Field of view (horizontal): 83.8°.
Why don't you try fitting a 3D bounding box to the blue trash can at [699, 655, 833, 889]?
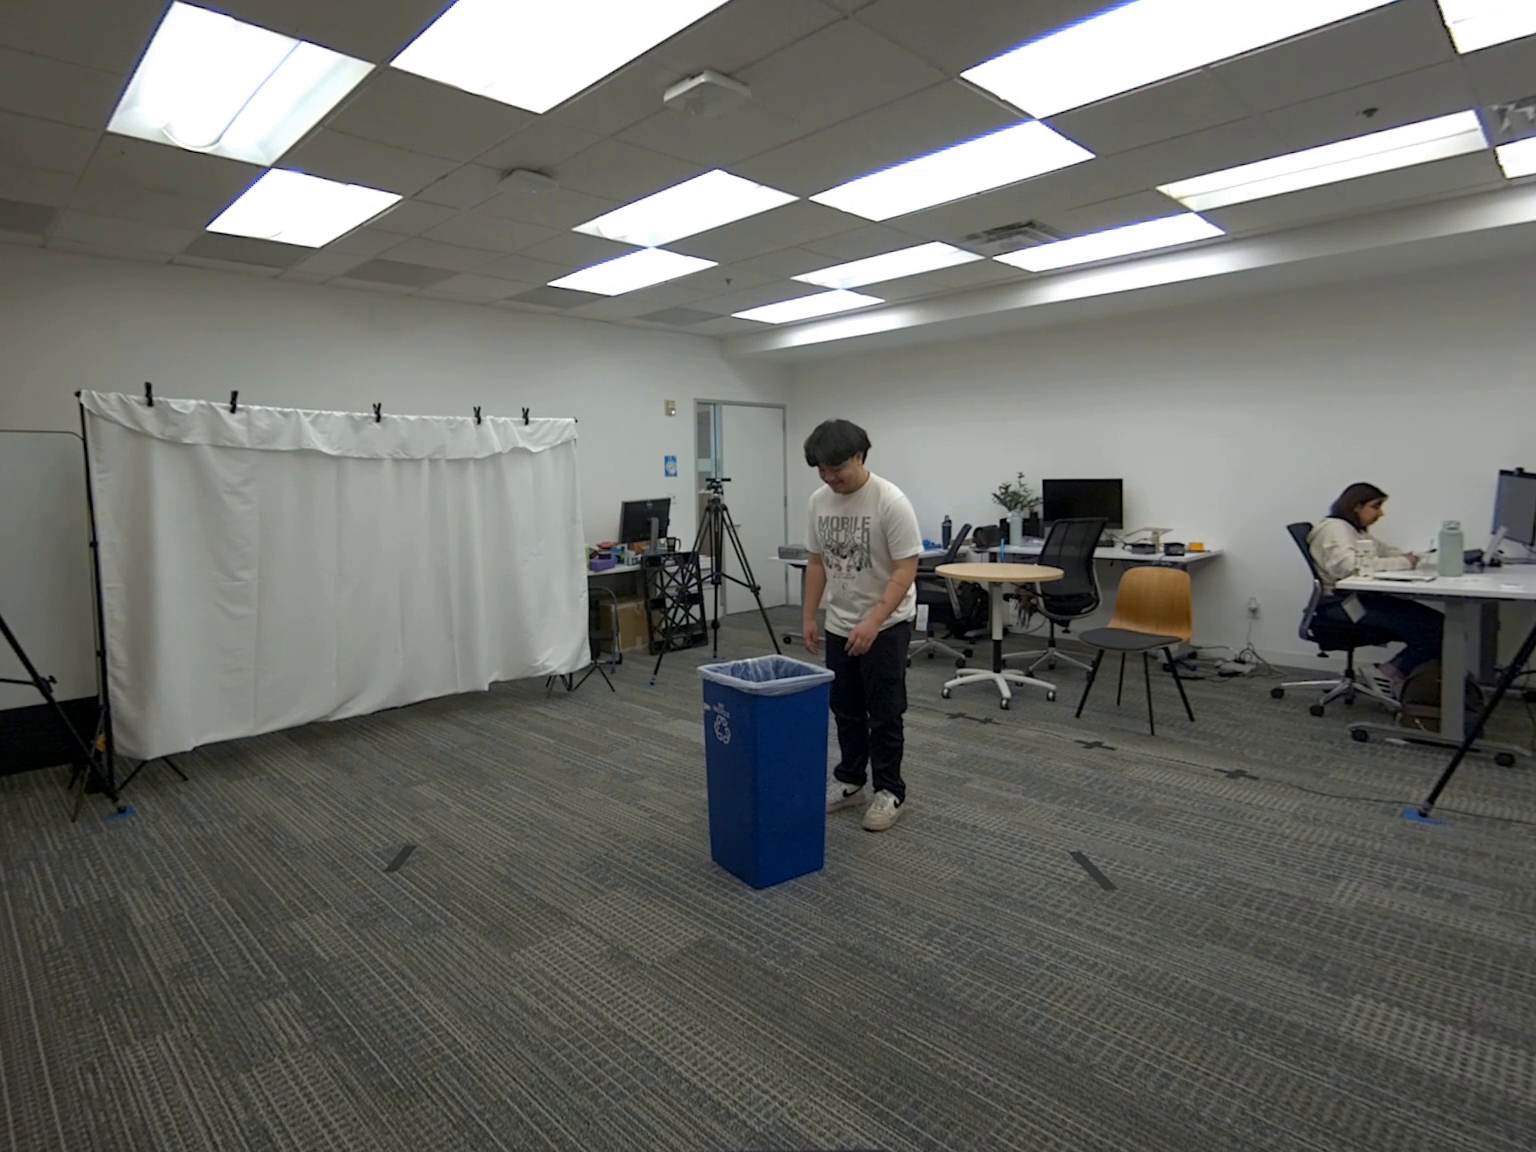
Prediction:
[{"bbox_3d":[0.001,0.686,3.067,0.368,0.711,0.385,-4,5,-35],"label":"blue trash can"}]
